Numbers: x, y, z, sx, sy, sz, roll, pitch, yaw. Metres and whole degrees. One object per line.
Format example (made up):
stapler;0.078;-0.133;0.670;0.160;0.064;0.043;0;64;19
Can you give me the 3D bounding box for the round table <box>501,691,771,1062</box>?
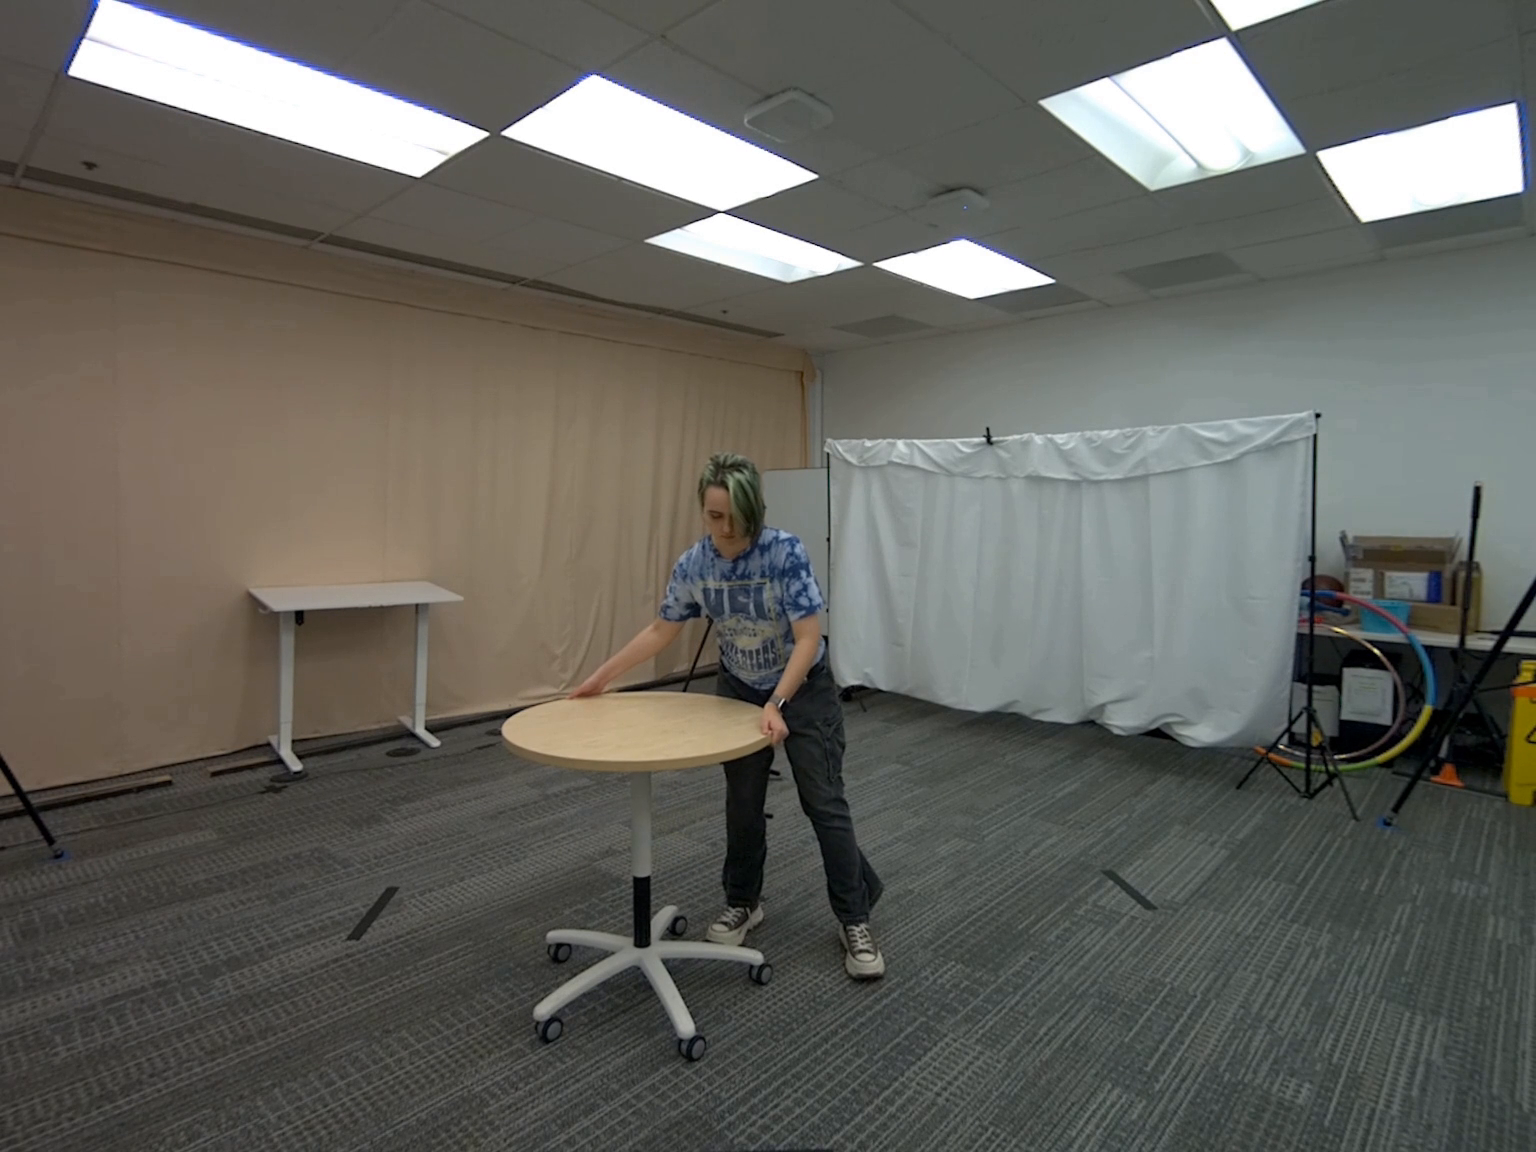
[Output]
round table;-0.363;0.809;2.389;0.763;0.792;0.767;-1;4;-2
